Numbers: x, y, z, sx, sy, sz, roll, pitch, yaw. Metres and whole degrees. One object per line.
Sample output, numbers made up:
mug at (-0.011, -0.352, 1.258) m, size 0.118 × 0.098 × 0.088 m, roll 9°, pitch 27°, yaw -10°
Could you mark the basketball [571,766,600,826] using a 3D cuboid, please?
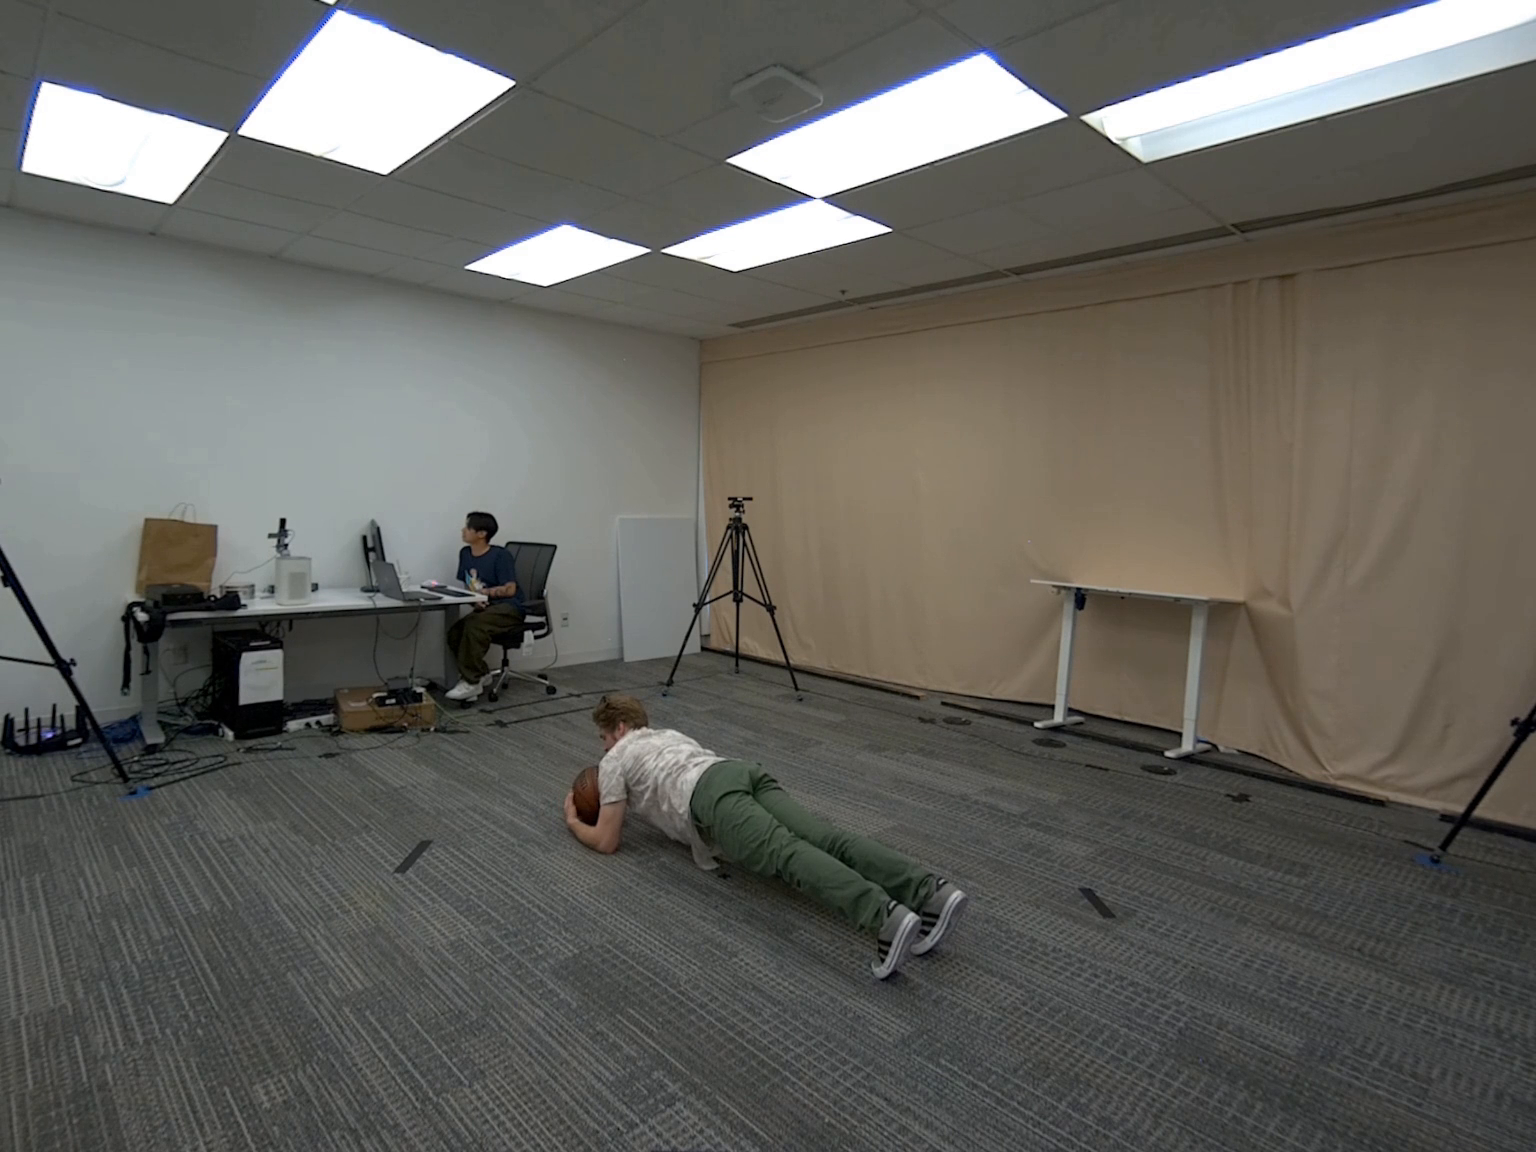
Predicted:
basketball at (-0.724, 0.929, 3.594) m, size 0.236 × 0.235 × 0.237 m, roll 1°, pitch 4°, yaw -1°
